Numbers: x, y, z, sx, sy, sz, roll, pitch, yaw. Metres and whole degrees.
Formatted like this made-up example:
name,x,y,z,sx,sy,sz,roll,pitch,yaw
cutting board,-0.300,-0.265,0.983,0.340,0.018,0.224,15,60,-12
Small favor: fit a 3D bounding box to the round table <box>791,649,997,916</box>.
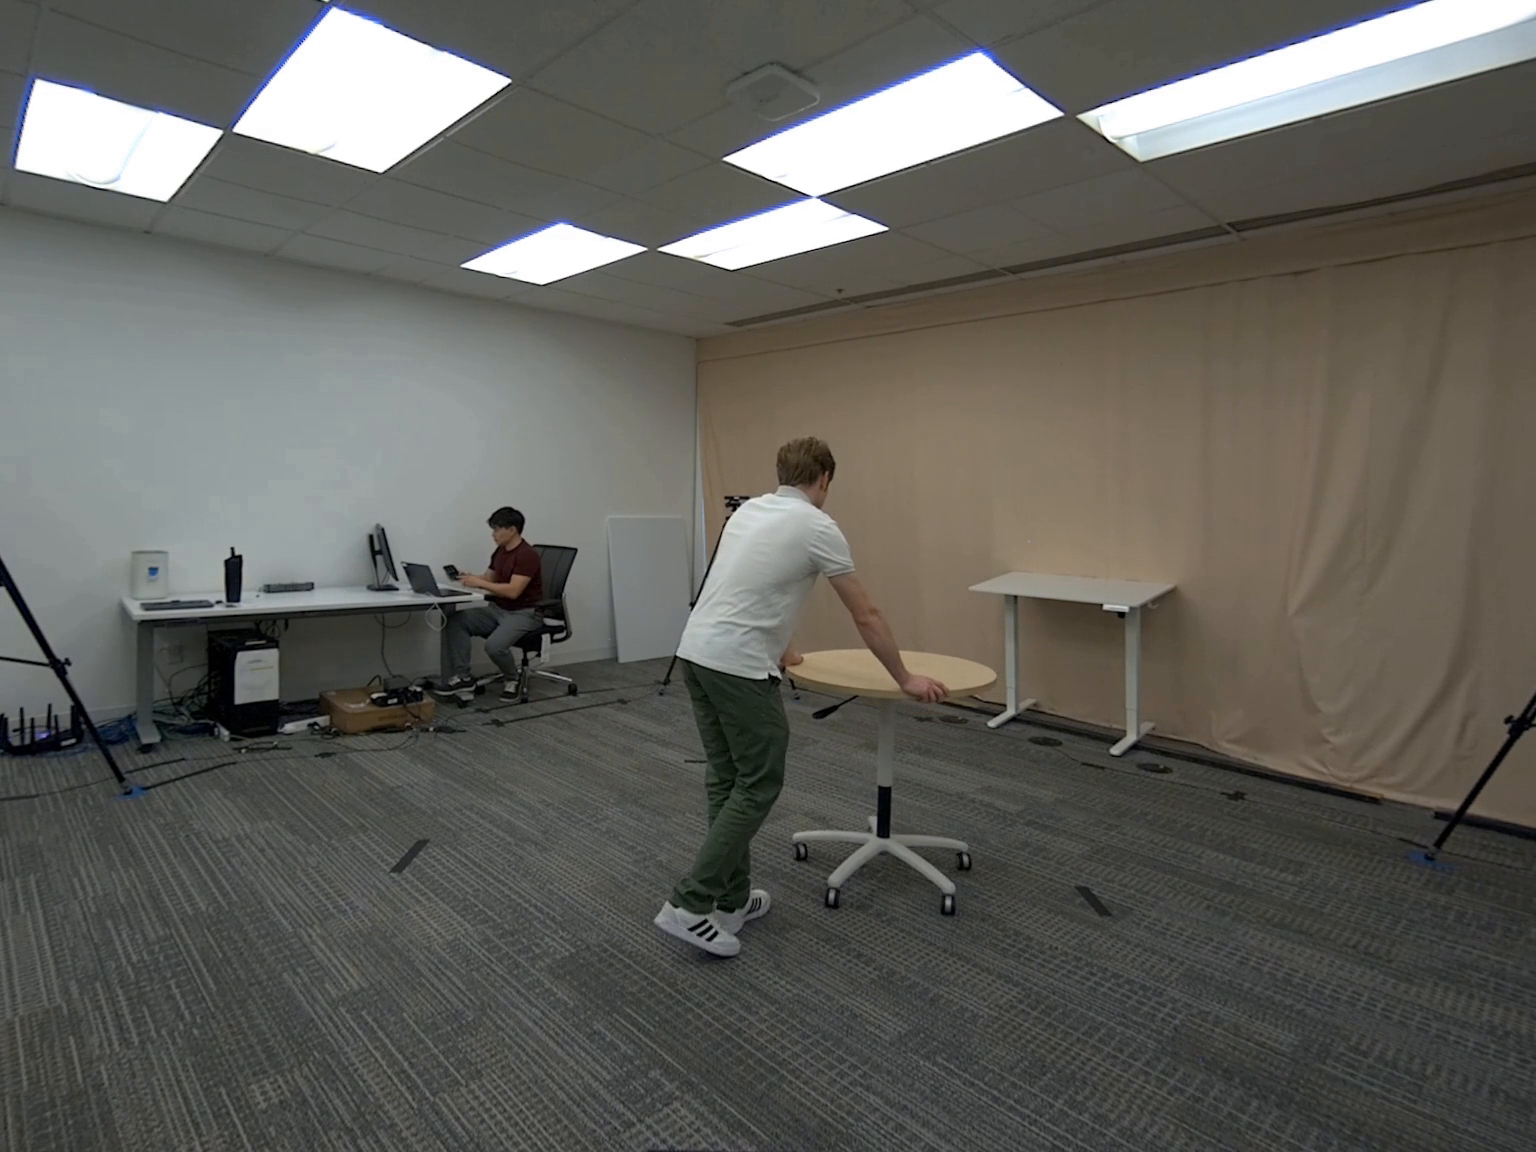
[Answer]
name,x,y,z,sx,sy,sz,roll,pitch,yaw
round table,0.433,0.730,3.132,0.763,0.792,0.766,2,4,-1
